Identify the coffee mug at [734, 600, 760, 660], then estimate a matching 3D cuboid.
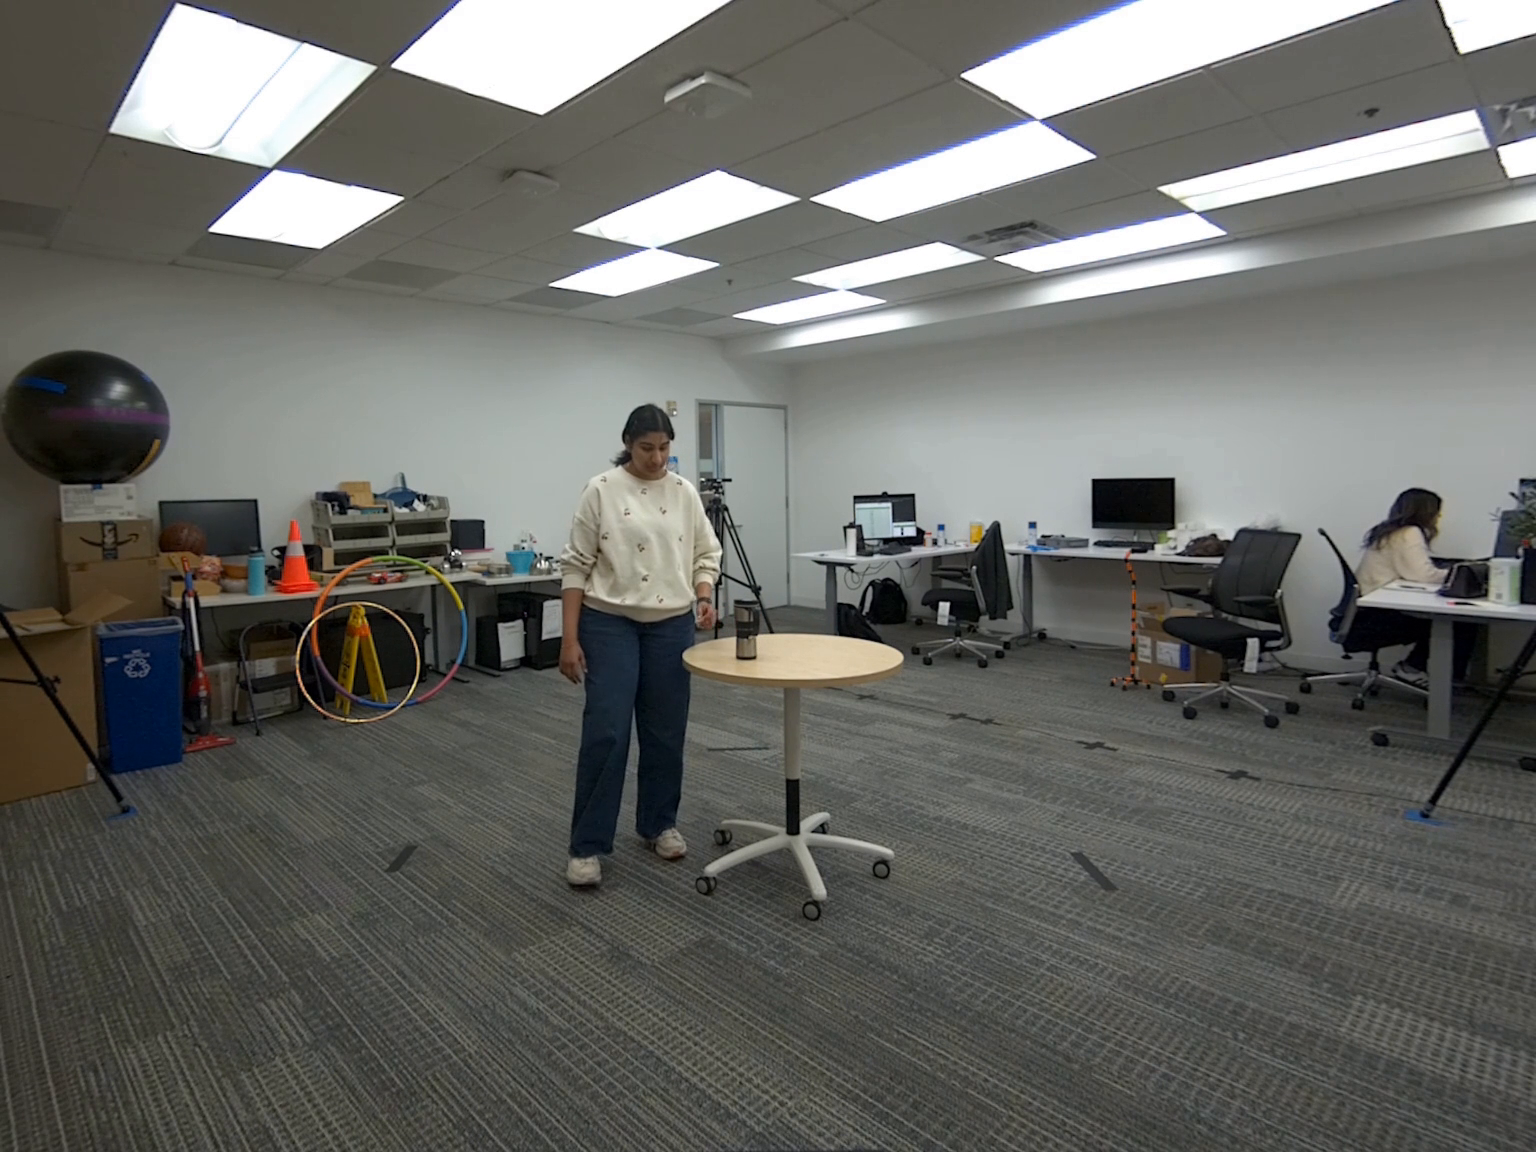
[{"bbox_3d":[-0.082,0.181,2.924,0.125,0.202,0.086,3,7,26],"label":"coffee mug"}]
